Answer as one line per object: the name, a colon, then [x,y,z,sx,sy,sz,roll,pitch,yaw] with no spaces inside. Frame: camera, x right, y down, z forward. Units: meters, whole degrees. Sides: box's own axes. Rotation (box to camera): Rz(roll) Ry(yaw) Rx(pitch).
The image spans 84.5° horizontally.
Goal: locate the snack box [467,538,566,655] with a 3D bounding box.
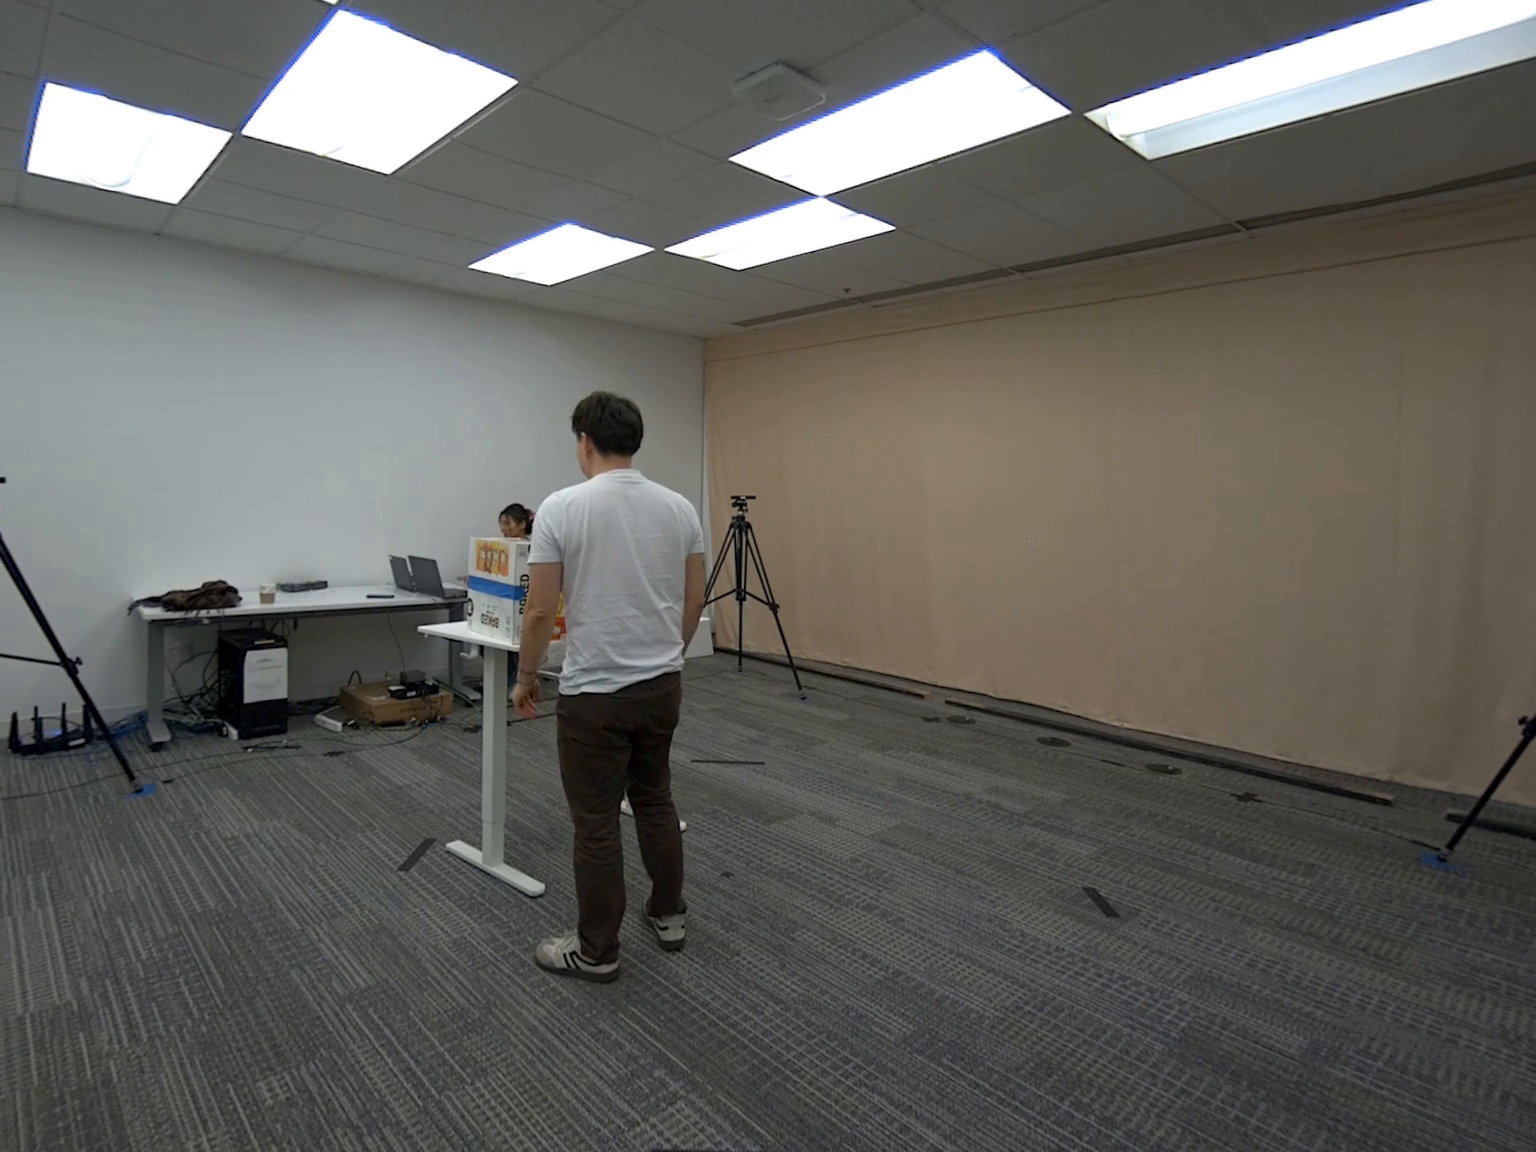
snack box: [-0.906,0.042,3.012,0.201,0.339,0.415,0,4,-40]
